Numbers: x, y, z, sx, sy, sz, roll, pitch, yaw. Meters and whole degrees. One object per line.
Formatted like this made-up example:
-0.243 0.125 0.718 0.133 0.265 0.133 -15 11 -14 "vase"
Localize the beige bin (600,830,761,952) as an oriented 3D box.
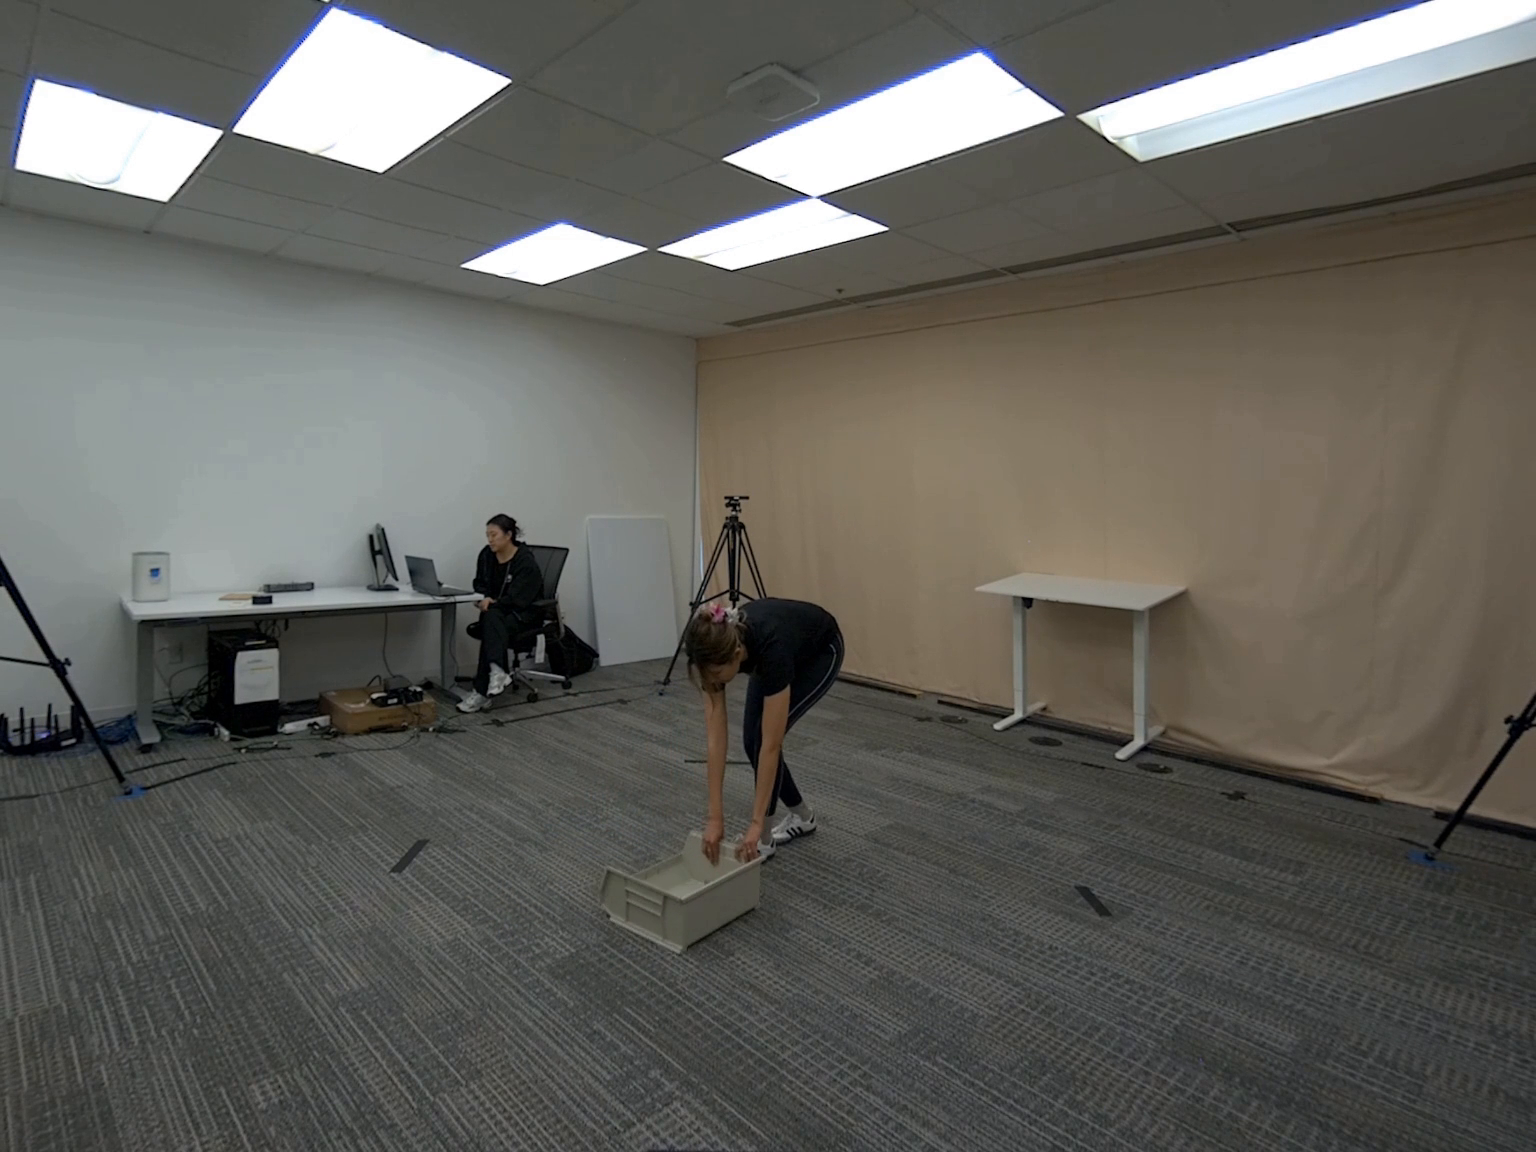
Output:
-0.289 1.036 2.816 0.387 0.188 0.413 6 6 38 "beige bin"
